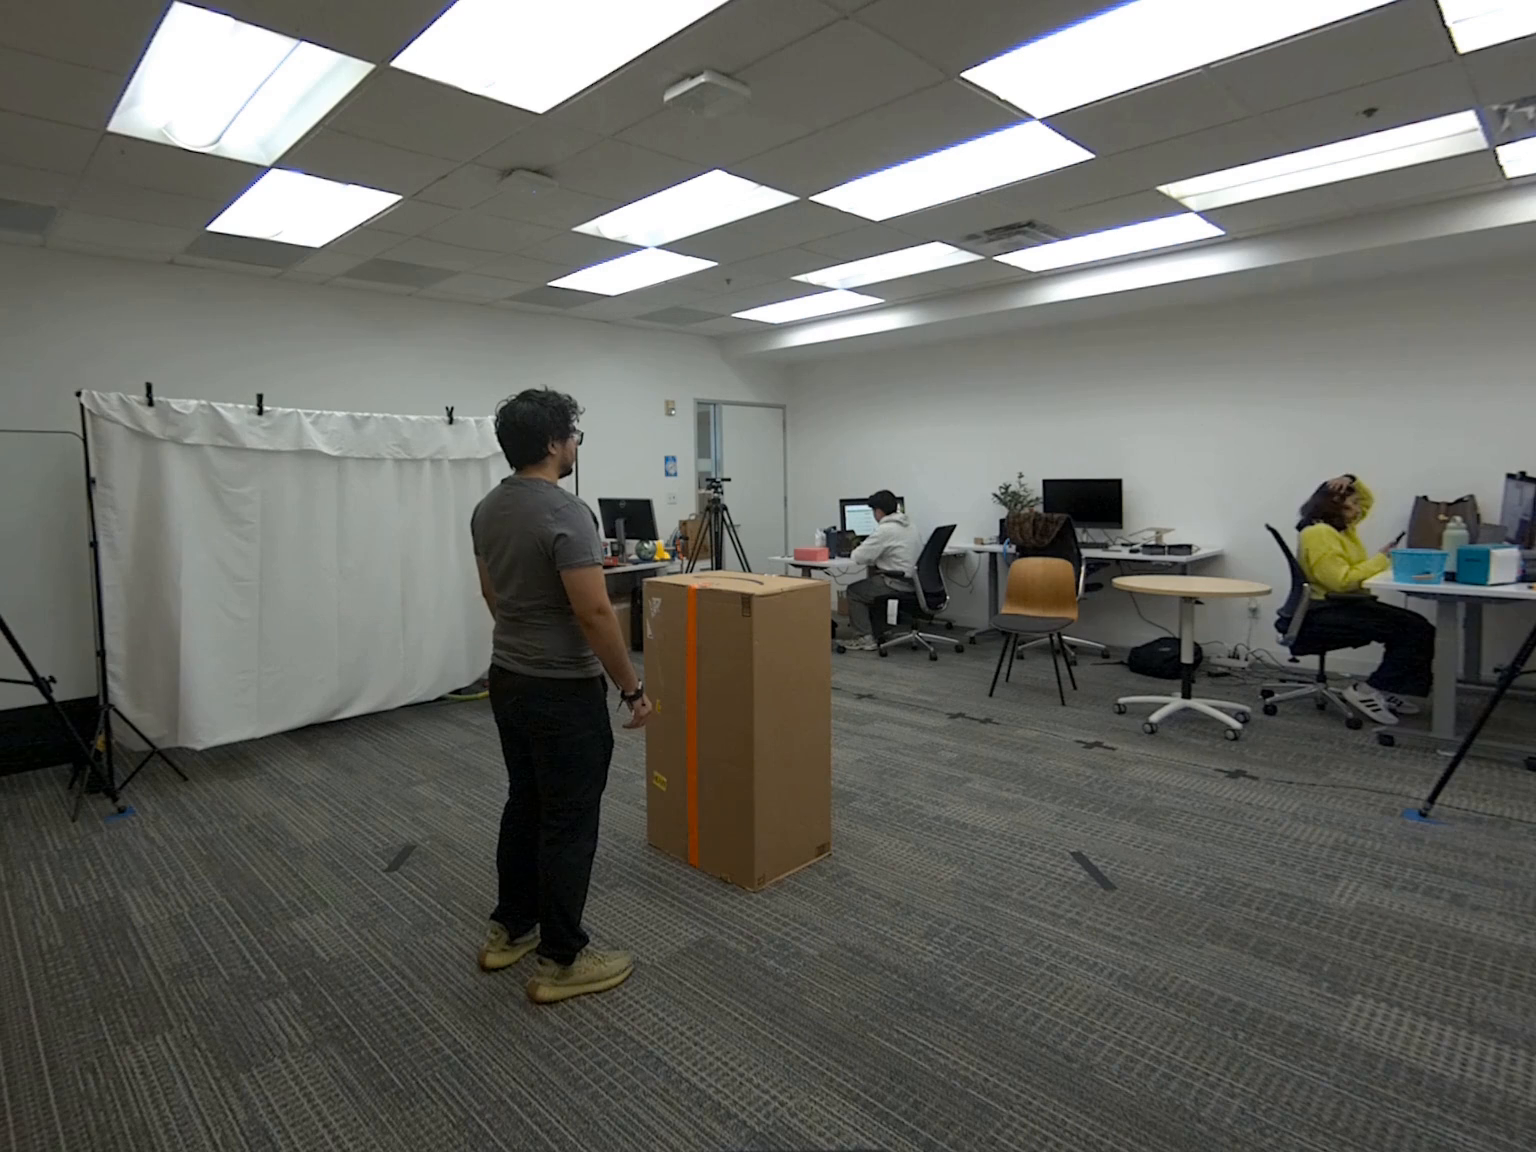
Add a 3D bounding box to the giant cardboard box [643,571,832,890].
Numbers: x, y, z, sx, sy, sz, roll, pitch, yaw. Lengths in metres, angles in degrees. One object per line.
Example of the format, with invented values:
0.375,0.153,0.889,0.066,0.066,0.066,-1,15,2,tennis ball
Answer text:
-0.118,0.525,3.188,0.595,1.022,0.415,3,6,45,giant cardboard box
